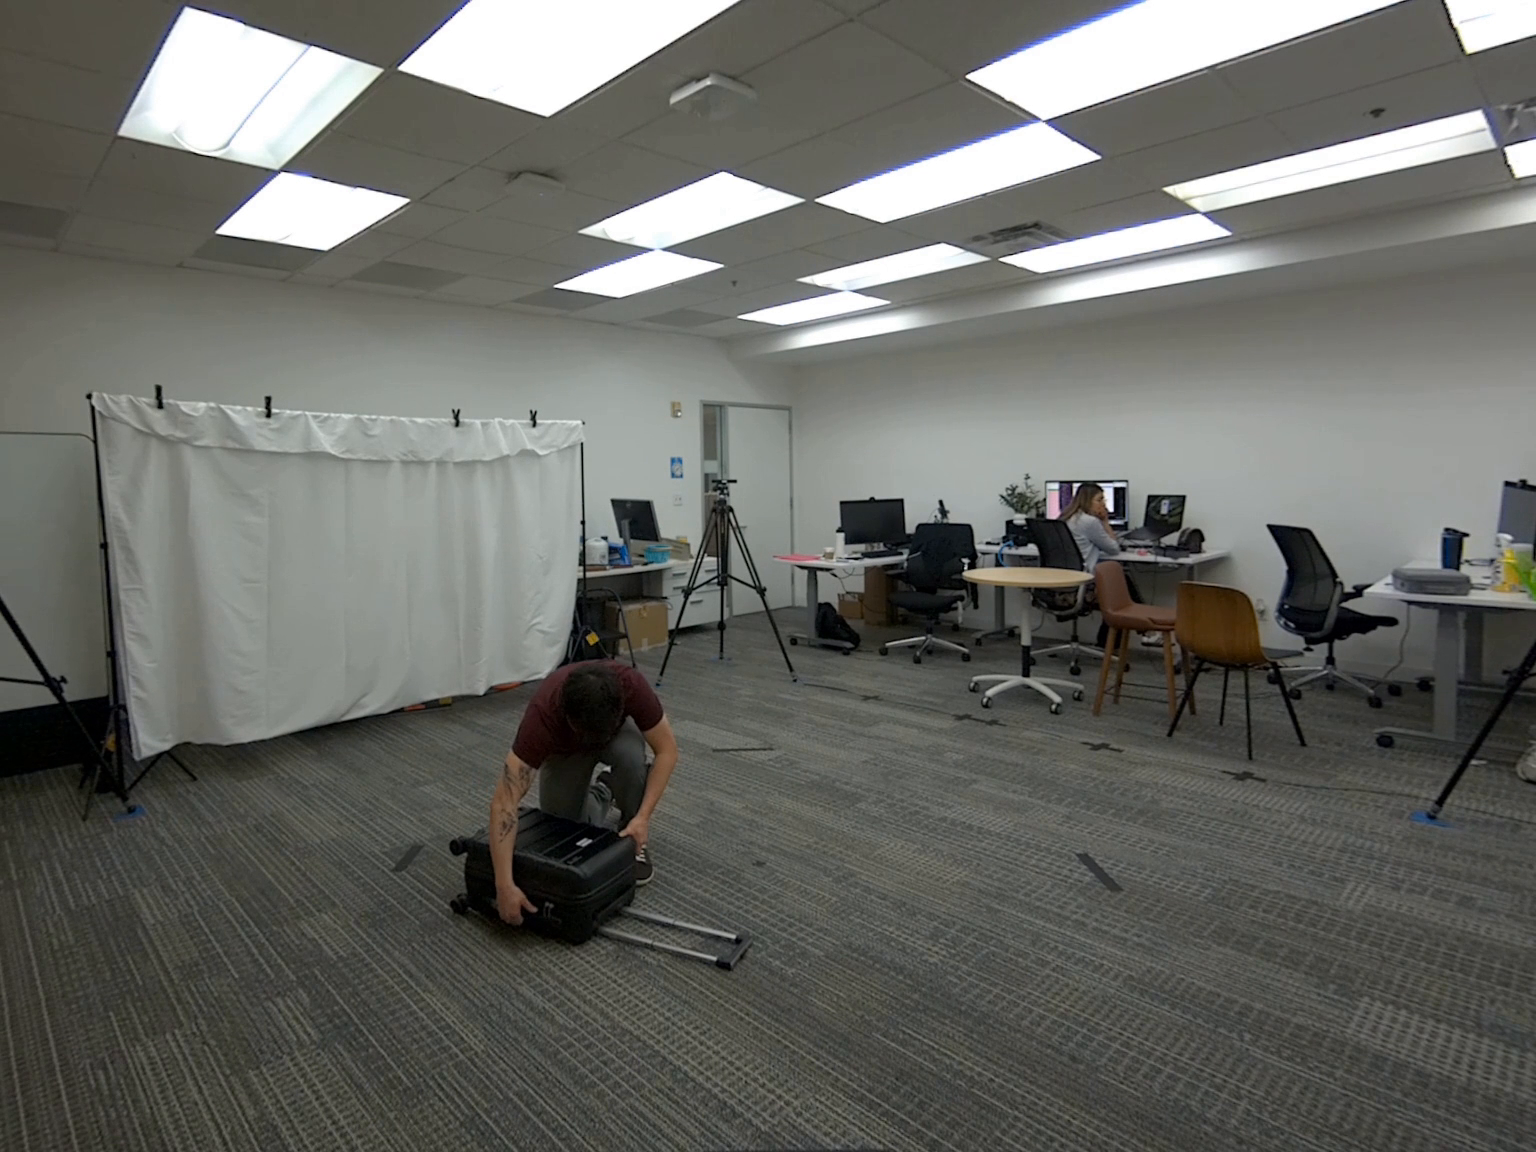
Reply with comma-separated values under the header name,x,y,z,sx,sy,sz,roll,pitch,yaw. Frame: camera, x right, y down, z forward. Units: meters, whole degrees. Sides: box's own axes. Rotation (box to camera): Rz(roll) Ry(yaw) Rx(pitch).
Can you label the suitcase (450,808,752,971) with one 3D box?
name,x,y,z,sx,sy,sz,roll,pitch,yaw
suitcase,-0.535,0.986,2.715,1.001,0.256,0.376,2,4,25
